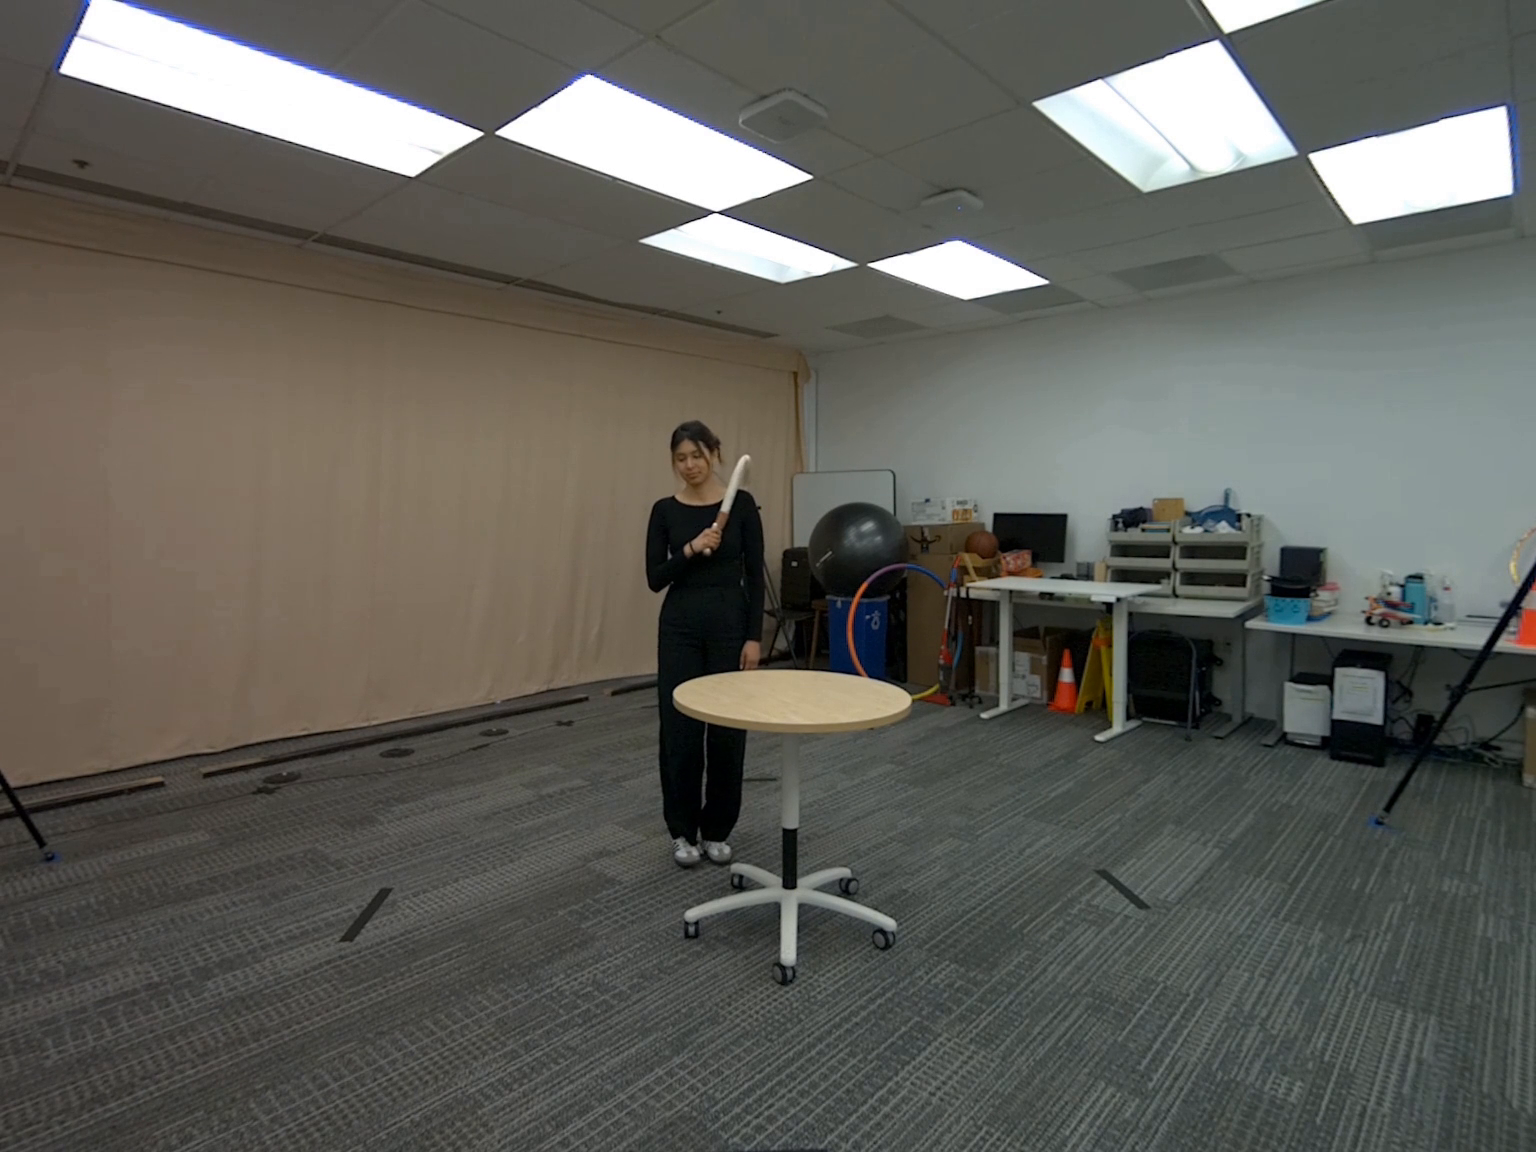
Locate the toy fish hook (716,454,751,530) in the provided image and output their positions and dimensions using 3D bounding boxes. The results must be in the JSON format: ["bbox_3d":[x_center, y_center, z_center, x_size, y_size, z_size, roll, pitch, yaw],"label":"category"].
[{"bbox_3d":[-0.149,-0.255,3.335,0.049,0.509,0.219,12,-30,15],"label":"toy fish hook"}]
